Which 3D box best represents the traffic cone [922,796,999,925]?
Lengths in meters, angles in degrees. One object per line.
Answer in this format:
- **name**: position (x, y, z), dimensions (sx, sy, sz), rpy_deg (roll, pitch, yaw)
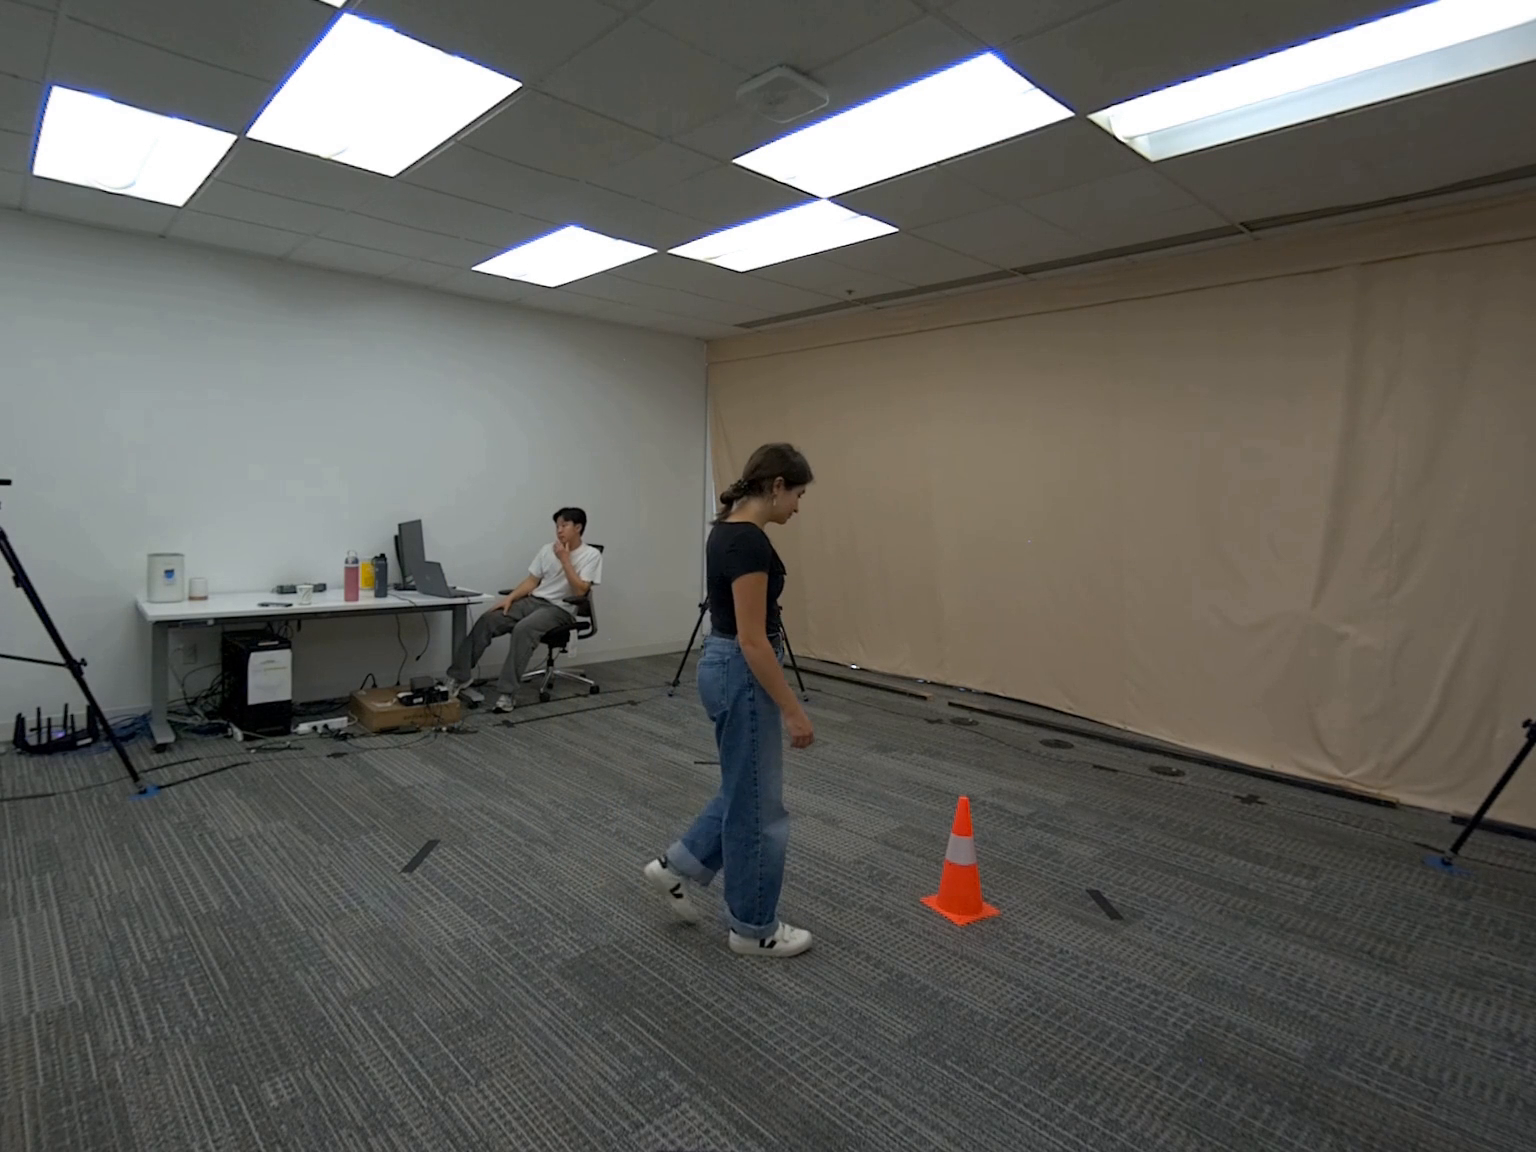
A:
- **traffic cone**: position (0.665, 0.962, 2.902), dimensions (0.199, 0.382, 0.210), rpy_deg (-2, 5, -29)
